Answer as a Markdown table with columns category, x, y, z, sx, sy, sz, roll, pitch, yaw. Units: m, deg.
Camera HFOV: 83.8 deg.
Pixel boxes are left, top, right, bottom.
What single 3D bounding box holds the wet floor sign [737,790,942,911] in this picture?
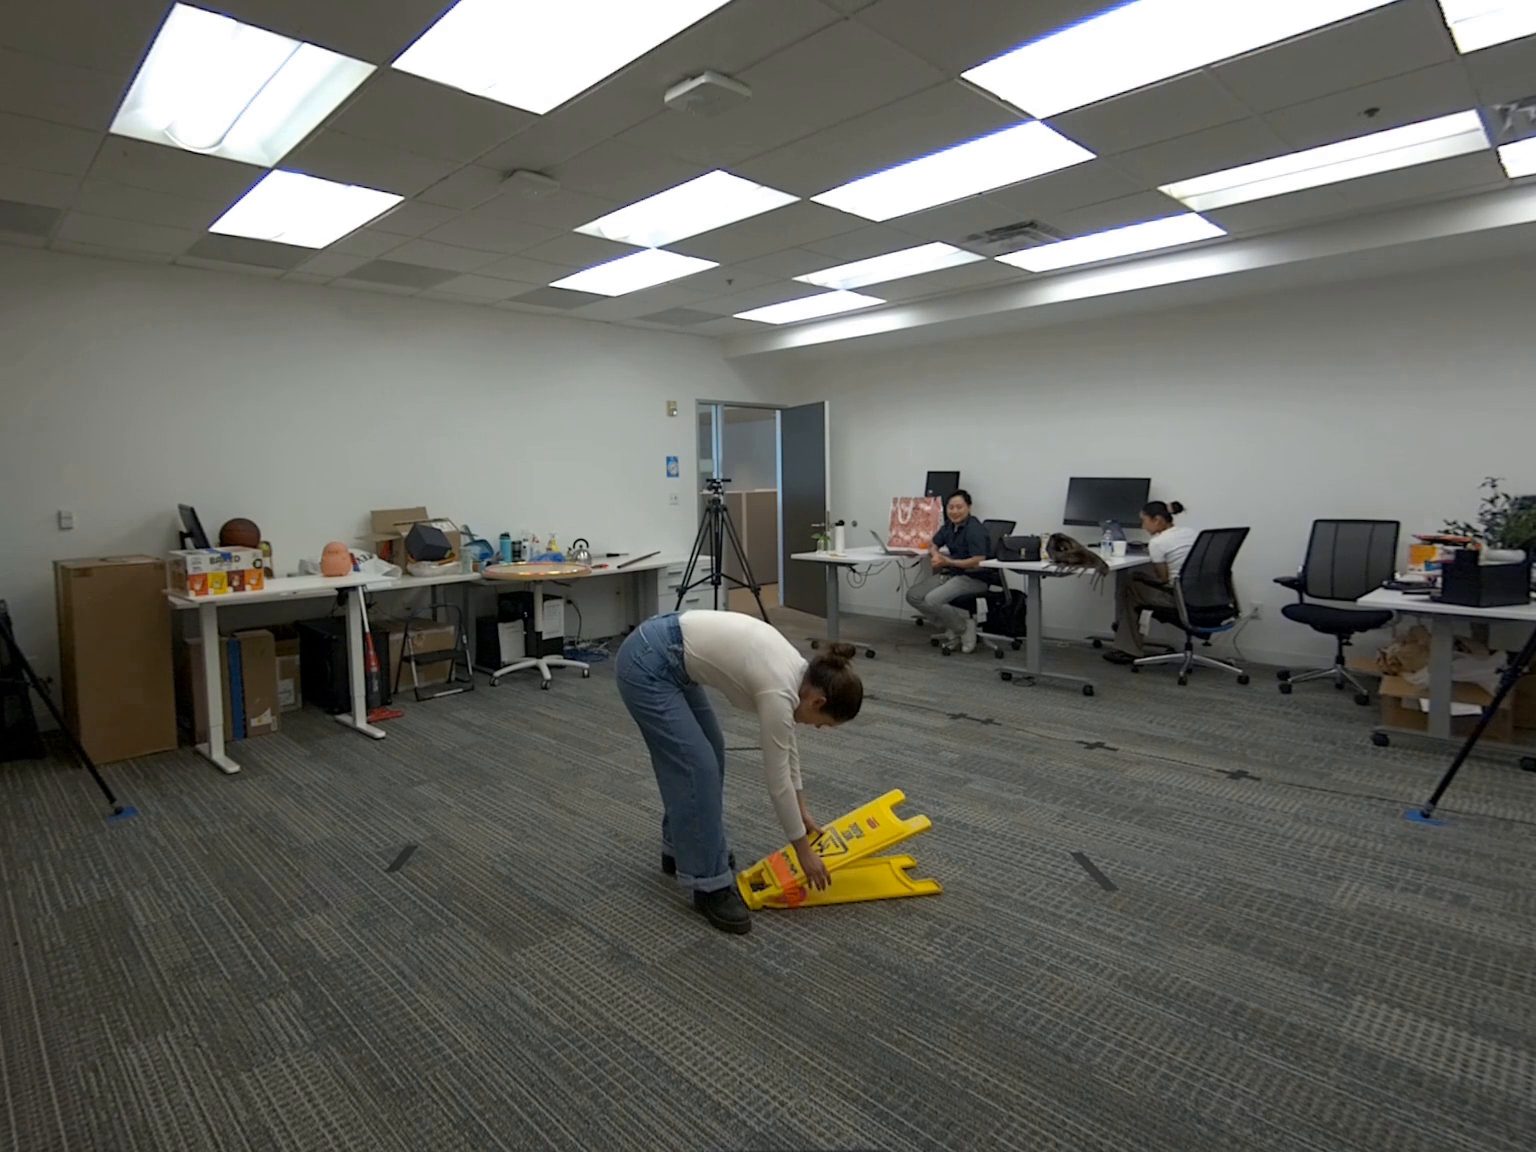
| category | x | y | z | sx | sy | sz | roll | pitch | yaw |
| --- | --- | --- | --- | --- | --- | --- | --- | --- | --- |
| wet floor sign | 0.224 | 0.982 | 2.905 | 0.640 | 0.287 | 0.287 | -12 | 9 | -12 |
